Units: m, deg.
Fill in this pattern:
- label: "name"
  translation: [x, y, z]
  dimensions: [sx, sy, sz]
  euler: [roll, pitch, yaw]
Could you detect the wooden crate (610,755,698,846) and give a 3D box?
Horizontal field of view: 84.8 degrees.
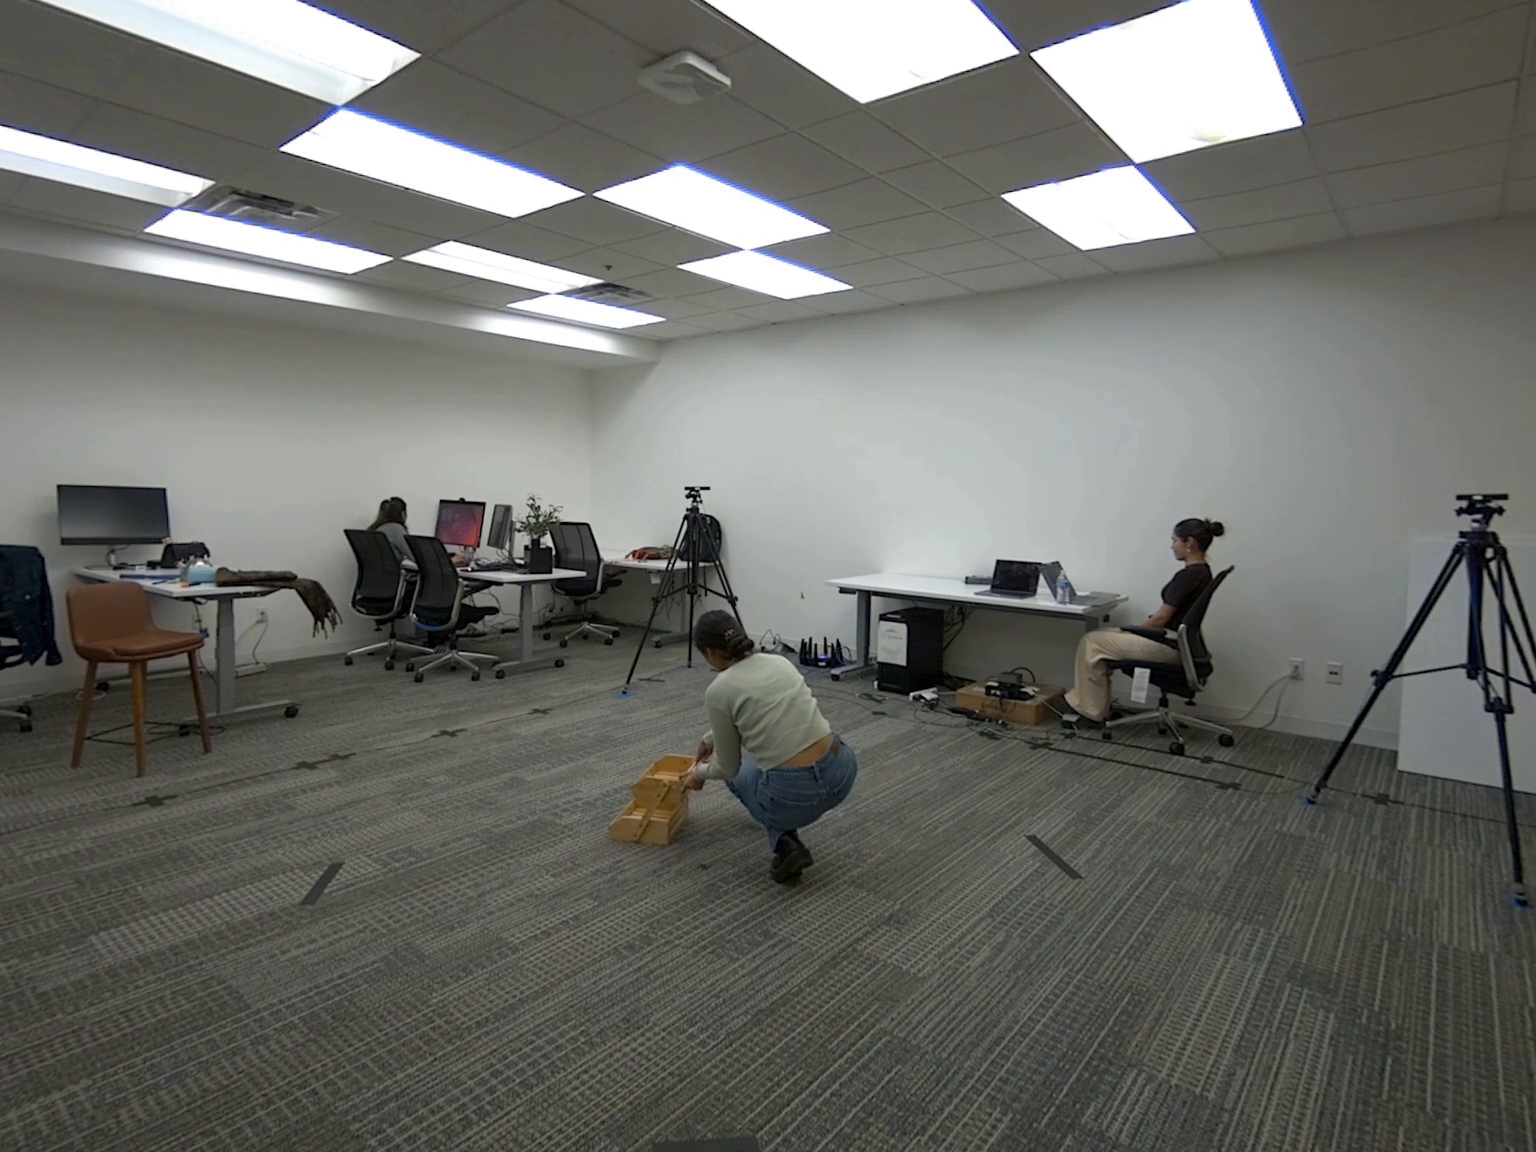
- label: "wooden crate"
  translation: [-0.474, 0.893, 3.469]
  dimensions: [0.306, 0.272, 0.321]
  euler: [3, 5, 11]
